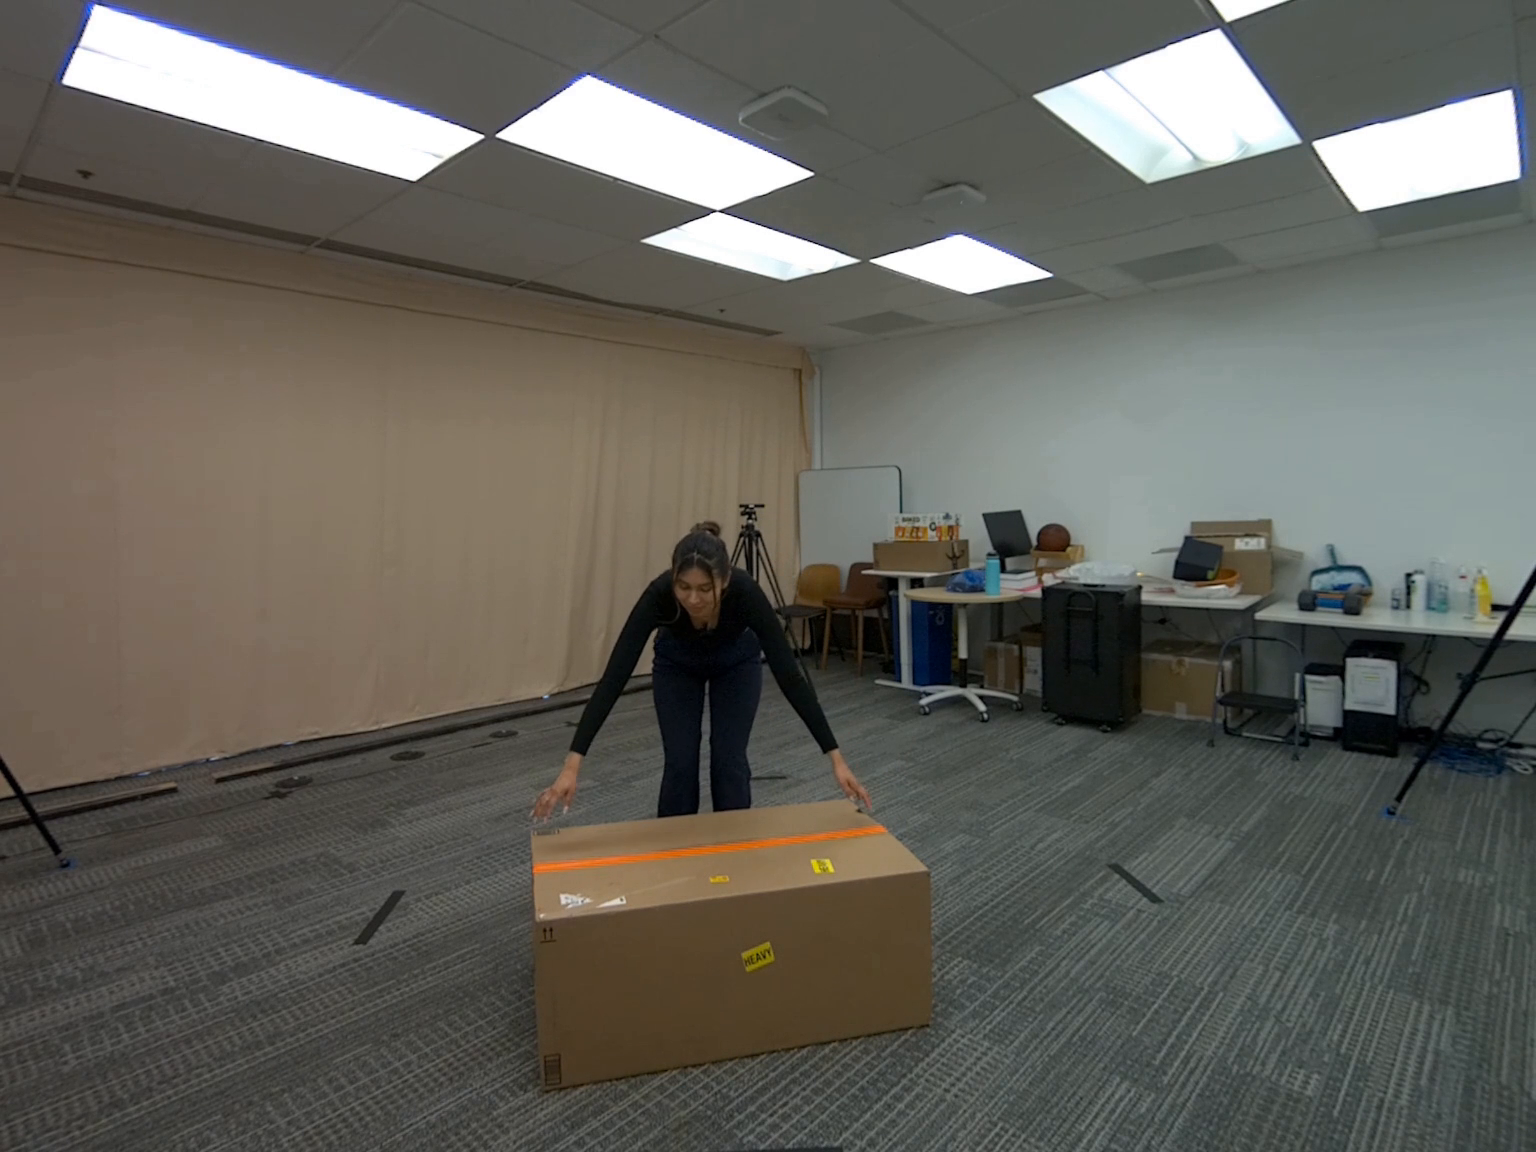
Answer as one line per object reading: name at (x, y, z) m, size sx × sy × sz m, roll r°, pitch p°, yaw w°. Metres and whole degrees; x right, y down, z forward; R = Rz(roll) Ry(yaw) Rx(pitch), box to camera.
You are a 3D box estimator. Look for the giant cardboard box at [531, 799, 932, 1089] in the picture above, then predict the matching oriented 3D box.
giant cardboard box at (-0.136, 0.975, 2.385) m, size 1.011 × 0.425 × 0.588 m, roll -2°, pitch 5°, yaw -14°
